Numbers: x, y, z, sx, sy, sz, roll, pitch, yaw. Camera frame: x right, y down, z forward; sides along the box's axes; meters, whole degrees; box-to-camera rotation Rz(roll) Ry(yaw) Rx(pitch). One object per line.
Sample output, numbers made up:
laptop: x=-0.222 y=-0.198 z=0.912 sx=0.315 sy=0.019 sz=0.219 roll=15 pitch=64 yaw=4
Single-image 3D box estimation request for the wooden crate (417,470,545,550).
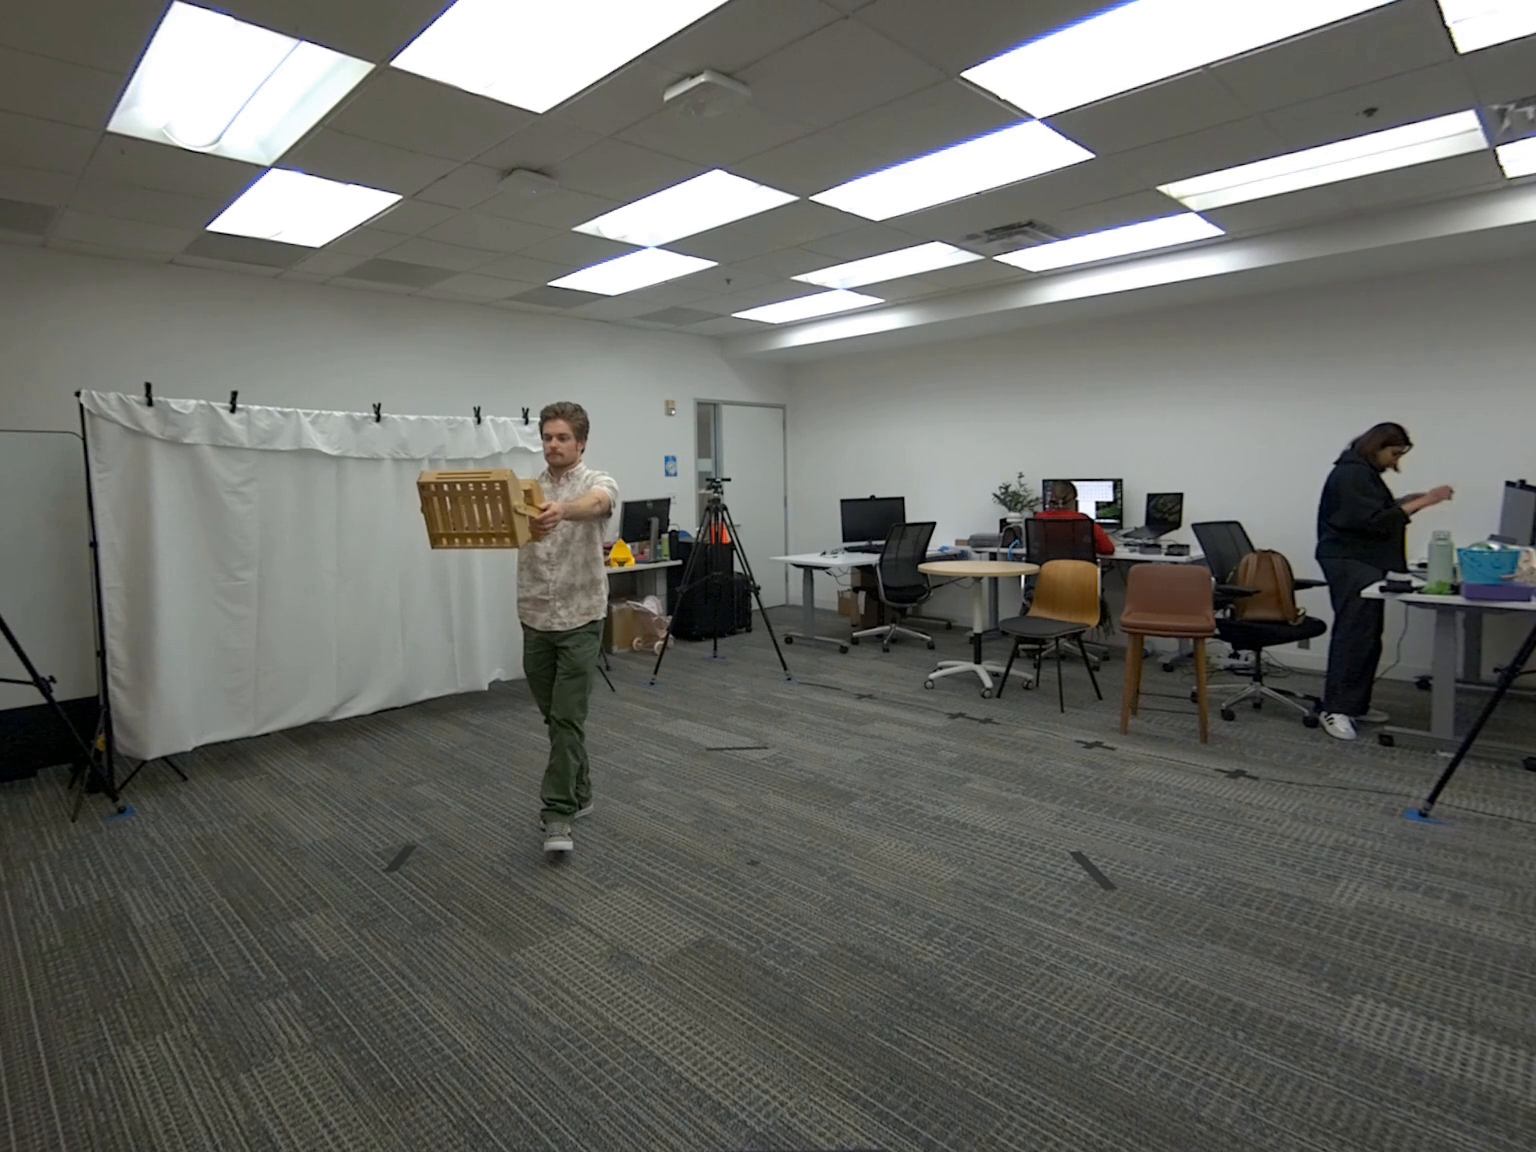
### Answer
wooden crate: x=-0.934 y=-0.231 z=2.789 sx=0.327 sy=0.296 sz=0.276 roll=0 pitch=24 yaw=8
